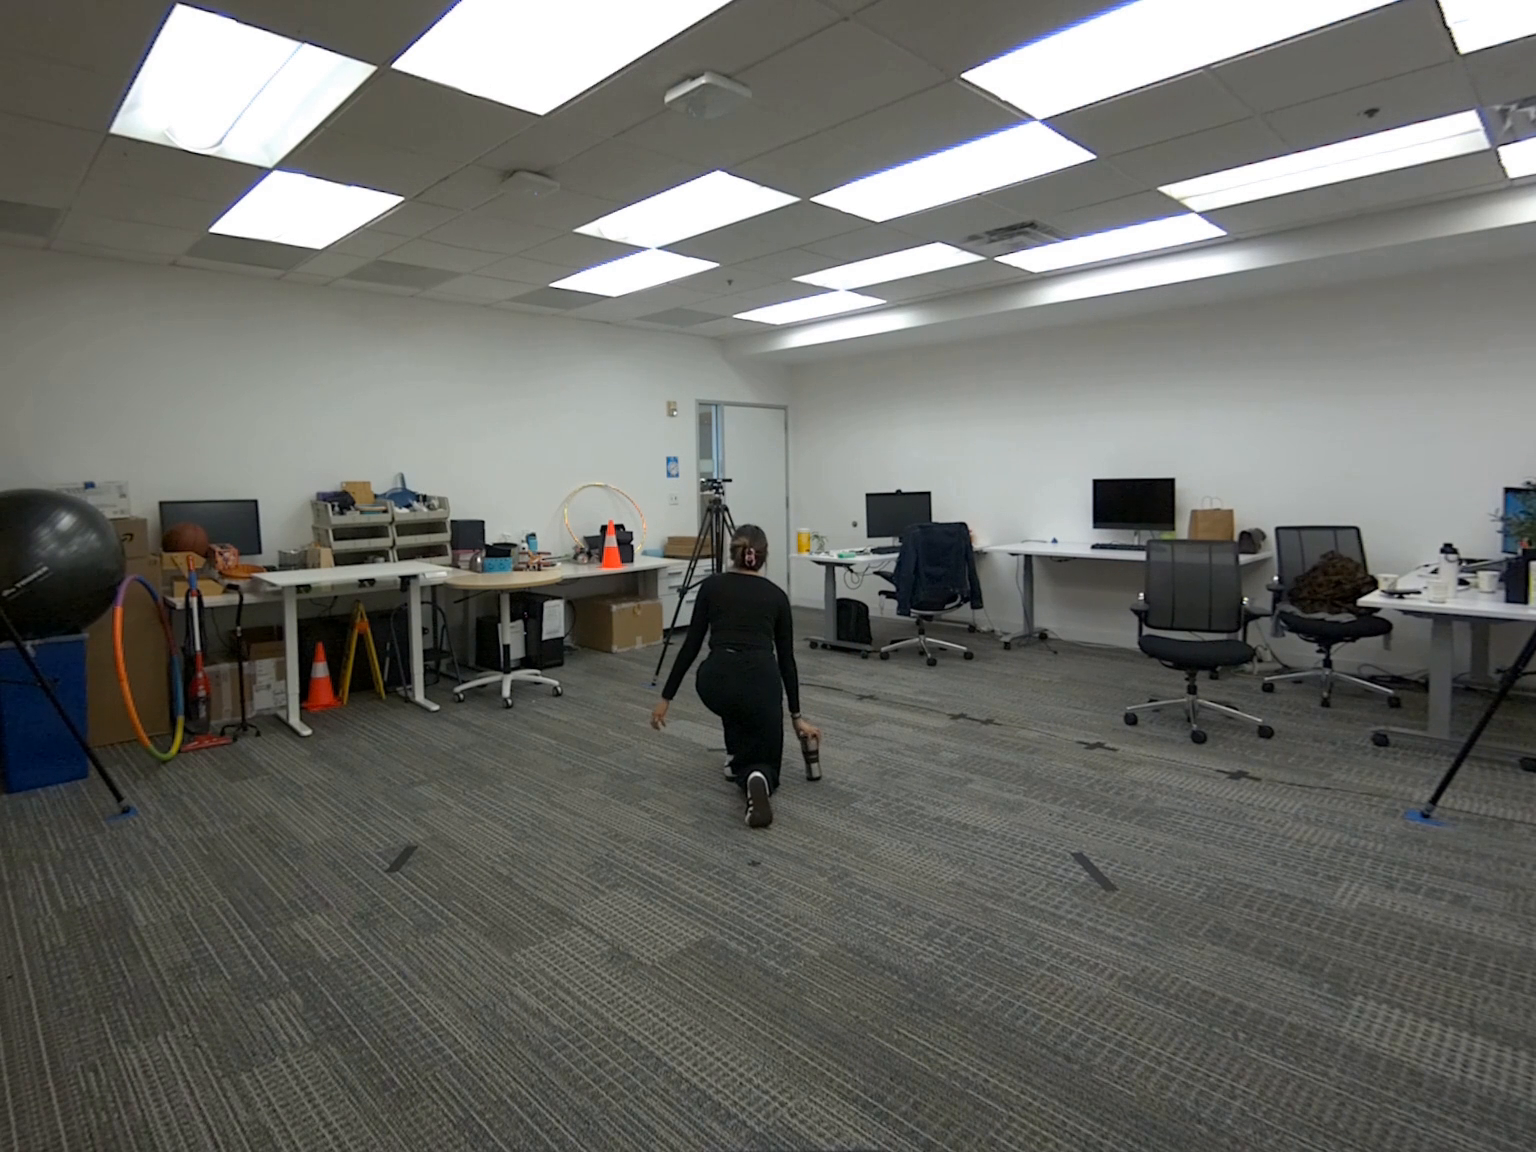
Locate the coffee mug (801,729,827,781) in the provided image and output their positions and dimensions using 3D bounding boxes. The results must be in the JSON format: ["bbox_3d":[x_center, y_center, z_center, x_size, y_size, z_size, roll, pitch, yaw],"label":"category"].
[{"bbox_3d":[0.207,0.831,3.997,0.088,0.203,0.121,-8,-1,2],"label":"coffee mug"}]
